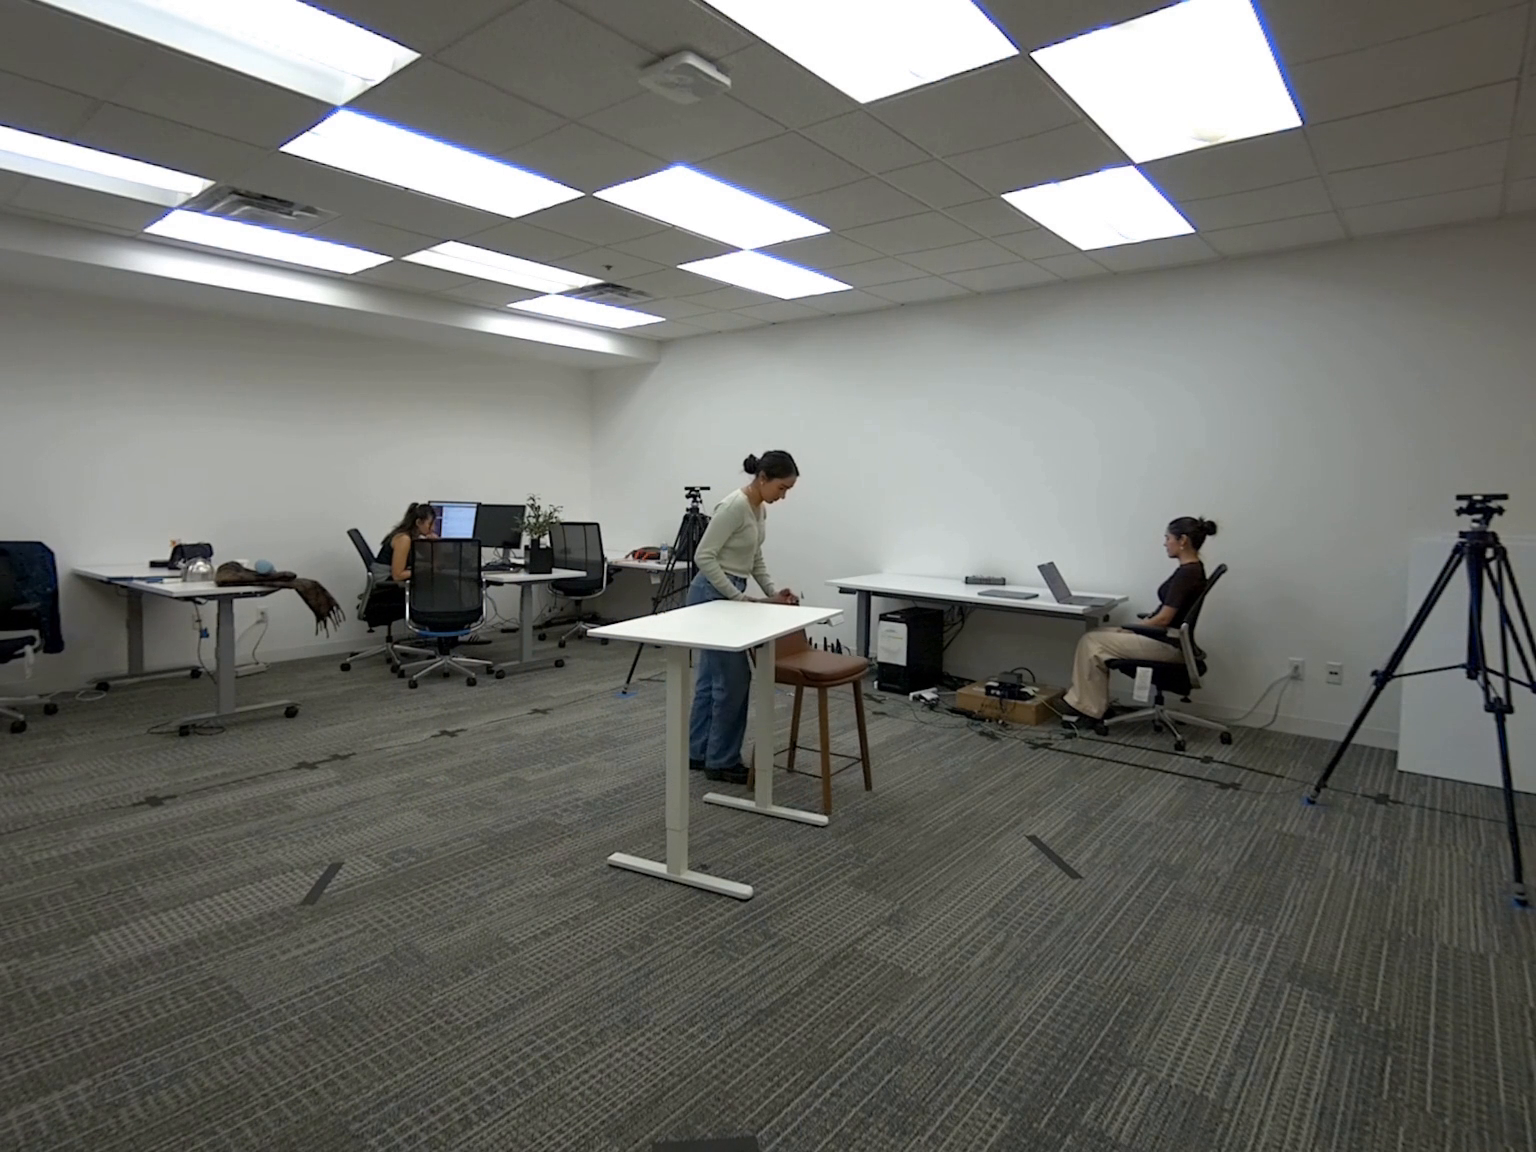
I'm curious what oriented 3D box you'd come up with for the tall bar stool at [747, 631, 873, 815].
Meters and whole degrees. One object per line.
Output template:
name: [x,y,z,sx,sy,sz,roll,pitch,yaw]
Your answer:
tall bar stool: [0.183,0.554,3.921,0.482,0.888,0.443,0,2,36]
